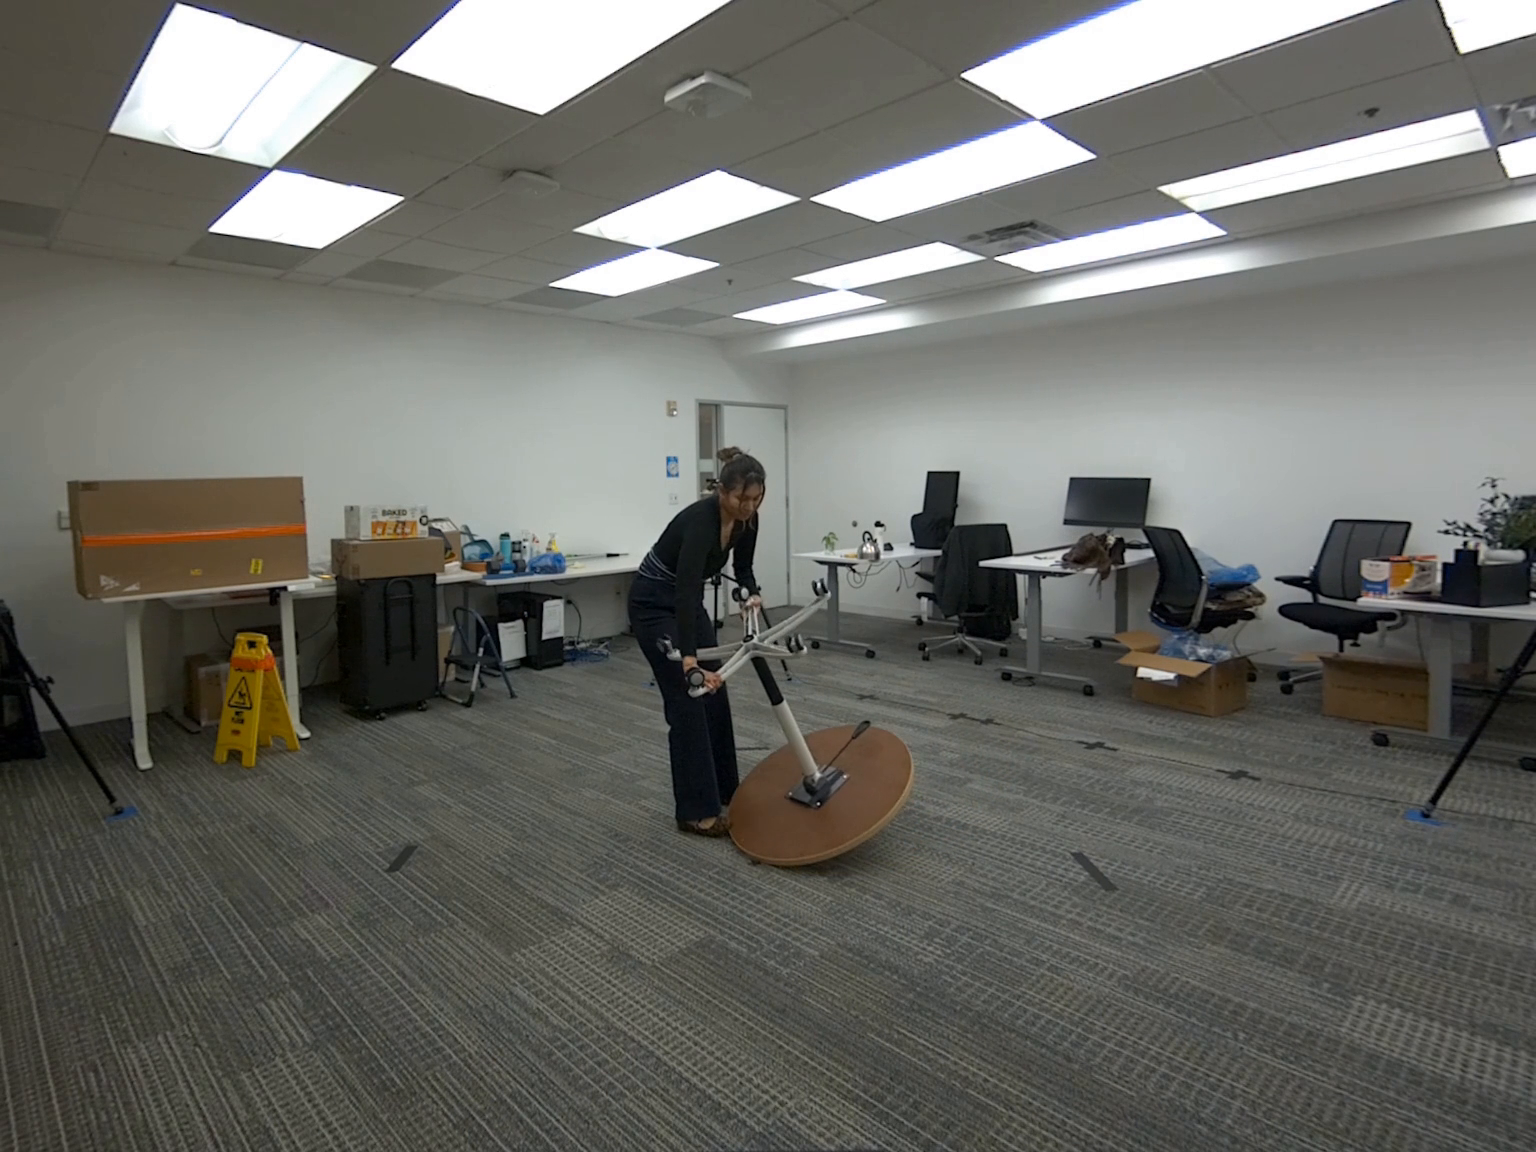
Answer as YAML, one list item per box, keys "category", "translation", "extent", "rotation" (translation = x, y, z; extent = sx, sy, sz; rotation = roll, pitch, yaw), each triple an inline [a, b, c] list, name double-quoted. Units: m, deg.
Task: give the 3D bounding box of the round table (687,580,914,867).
- category: "round table"
  translation: [0.052, 0.504, 3.225]
  extent: [0.766, 0.778, 0.777]
  rotation: [-22, 18, 6]
